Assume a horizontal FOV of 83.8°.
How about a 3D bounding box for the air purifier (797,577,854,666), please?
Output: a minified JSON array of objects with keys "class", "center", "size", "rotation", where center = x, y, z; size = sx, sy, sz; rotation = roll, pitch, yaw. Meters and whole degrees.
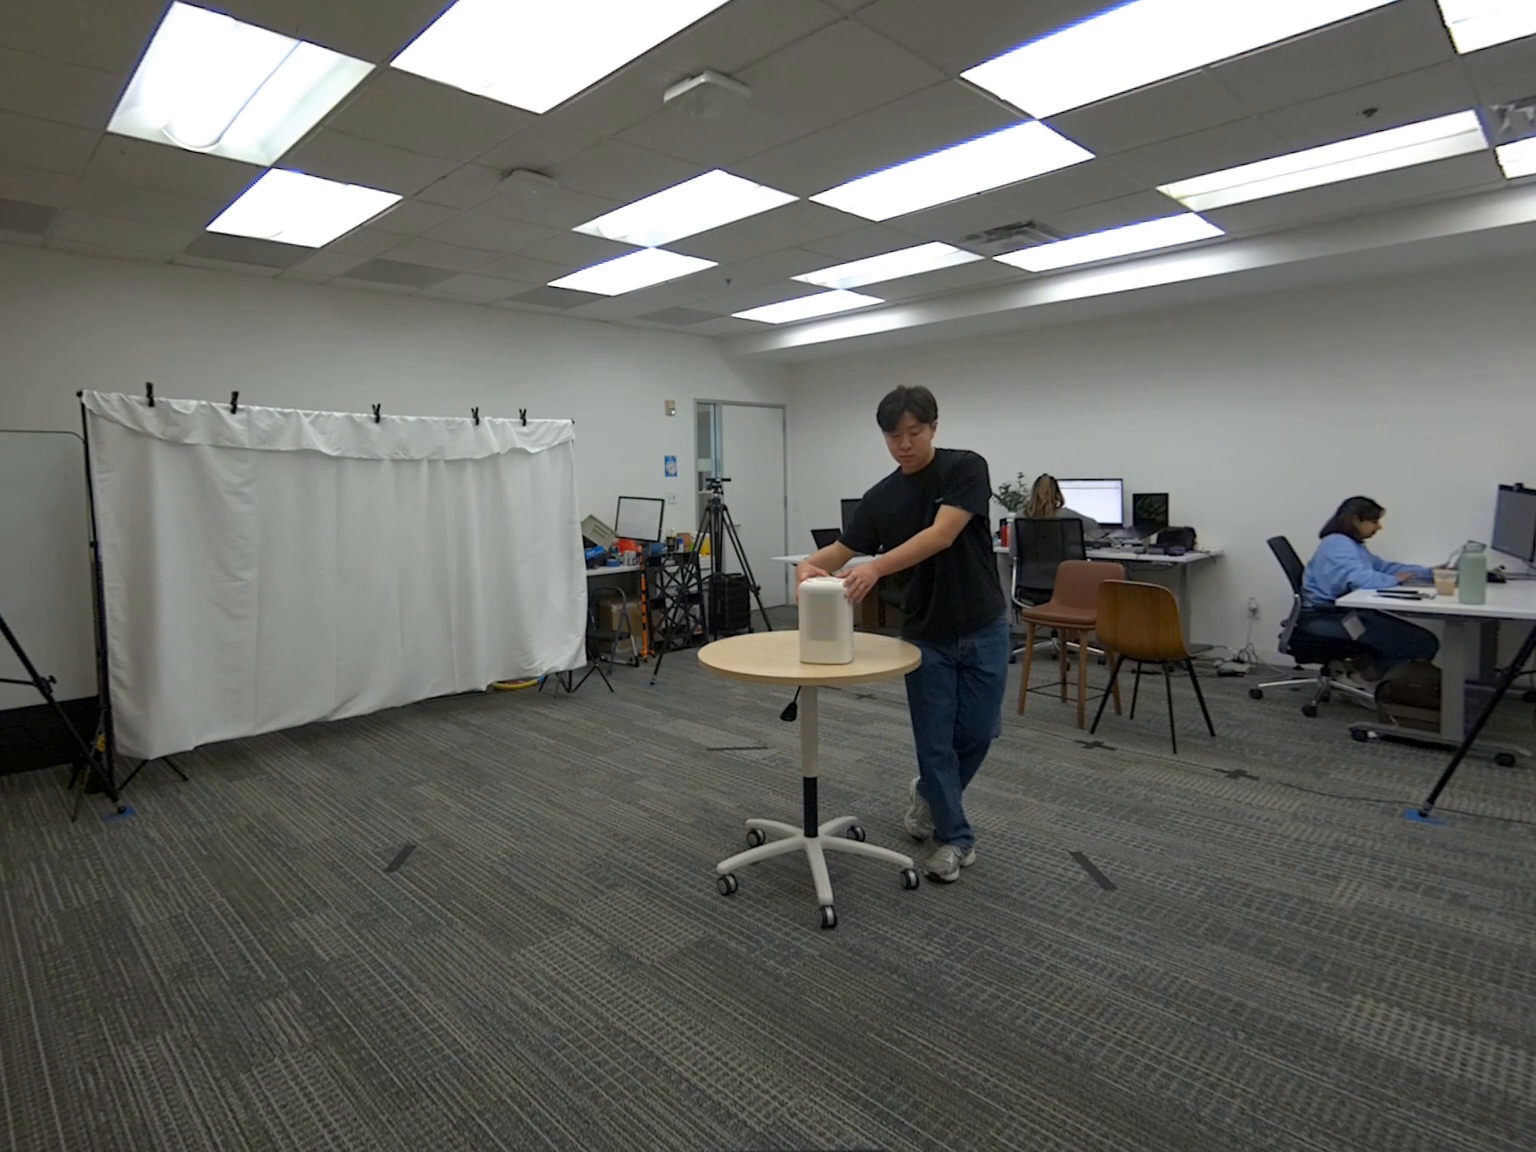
[{"class":"air purifier","center":[0.197,0.143,2.816],"size":[0.174,0.264,0.169],"rotation":[1,4,14]}]
